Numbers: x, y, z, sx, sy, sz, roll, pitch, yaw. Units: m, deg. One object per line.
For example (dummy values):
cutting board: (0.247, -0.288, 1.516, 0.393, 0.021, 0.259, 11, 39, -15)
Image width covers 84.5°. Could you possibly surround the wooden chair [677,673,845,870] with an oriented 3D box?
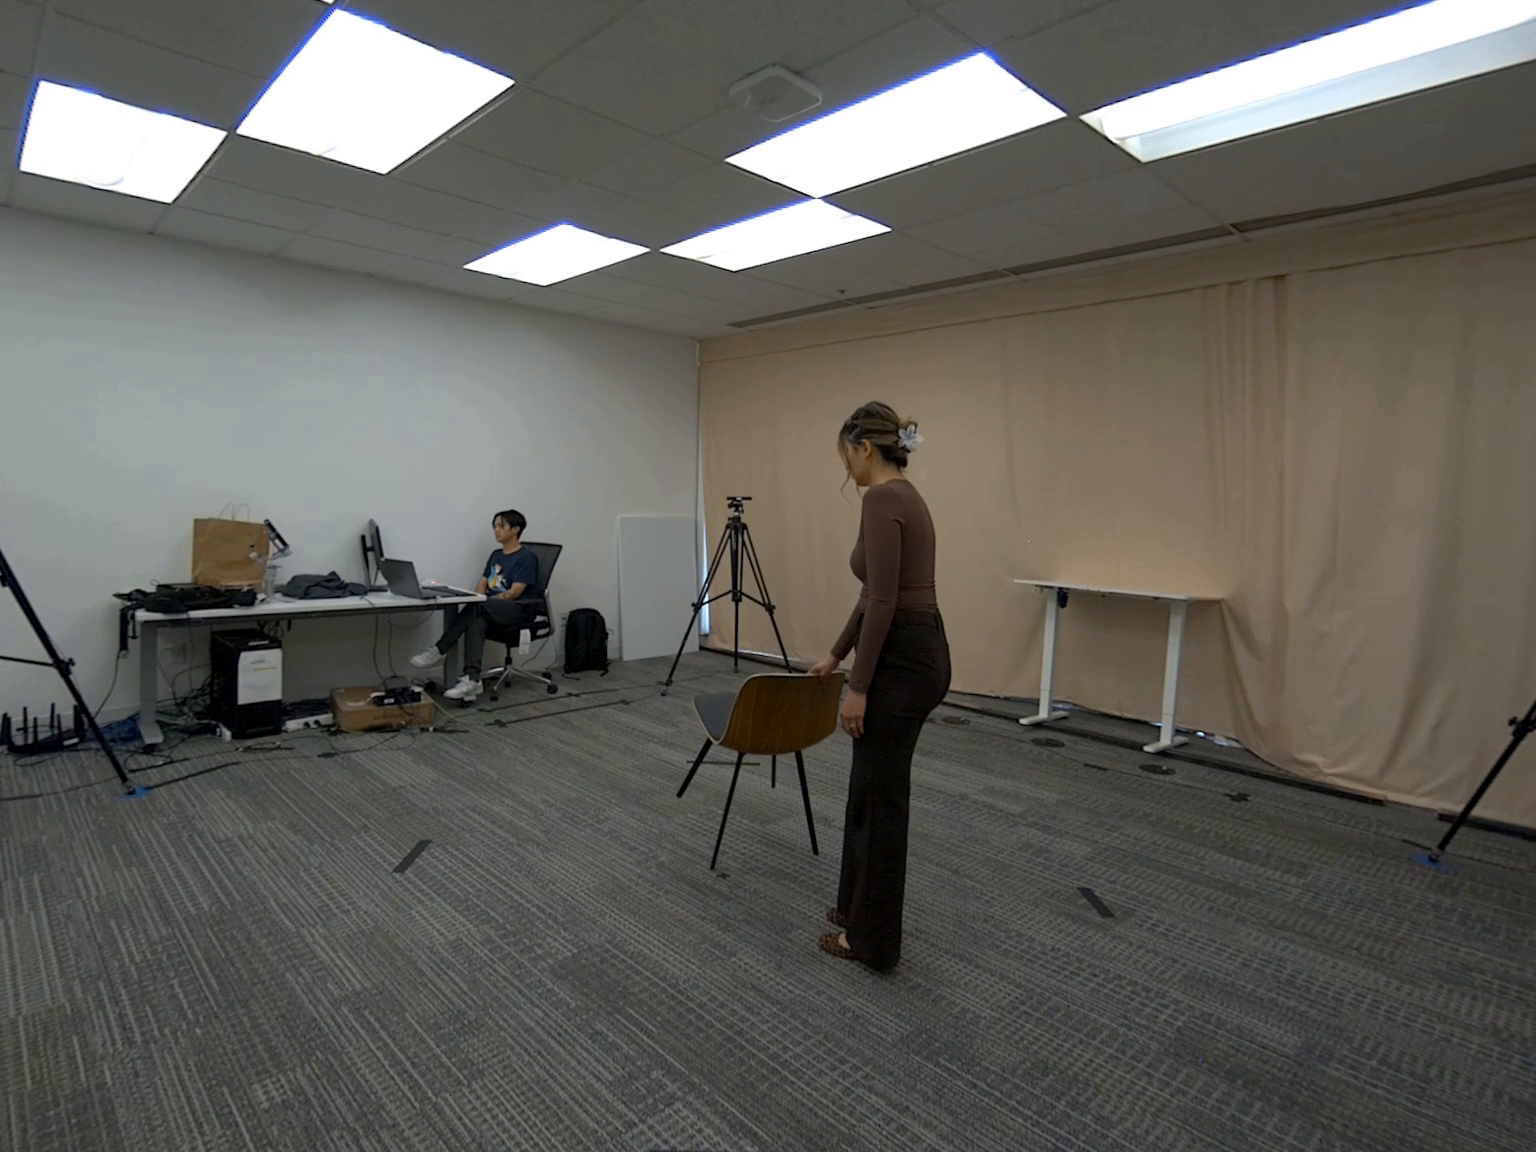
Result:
wooden chair: (-0.040, 0.616, 3.286, 0.470, 0.866, 0.538, 0, 25, -23)
